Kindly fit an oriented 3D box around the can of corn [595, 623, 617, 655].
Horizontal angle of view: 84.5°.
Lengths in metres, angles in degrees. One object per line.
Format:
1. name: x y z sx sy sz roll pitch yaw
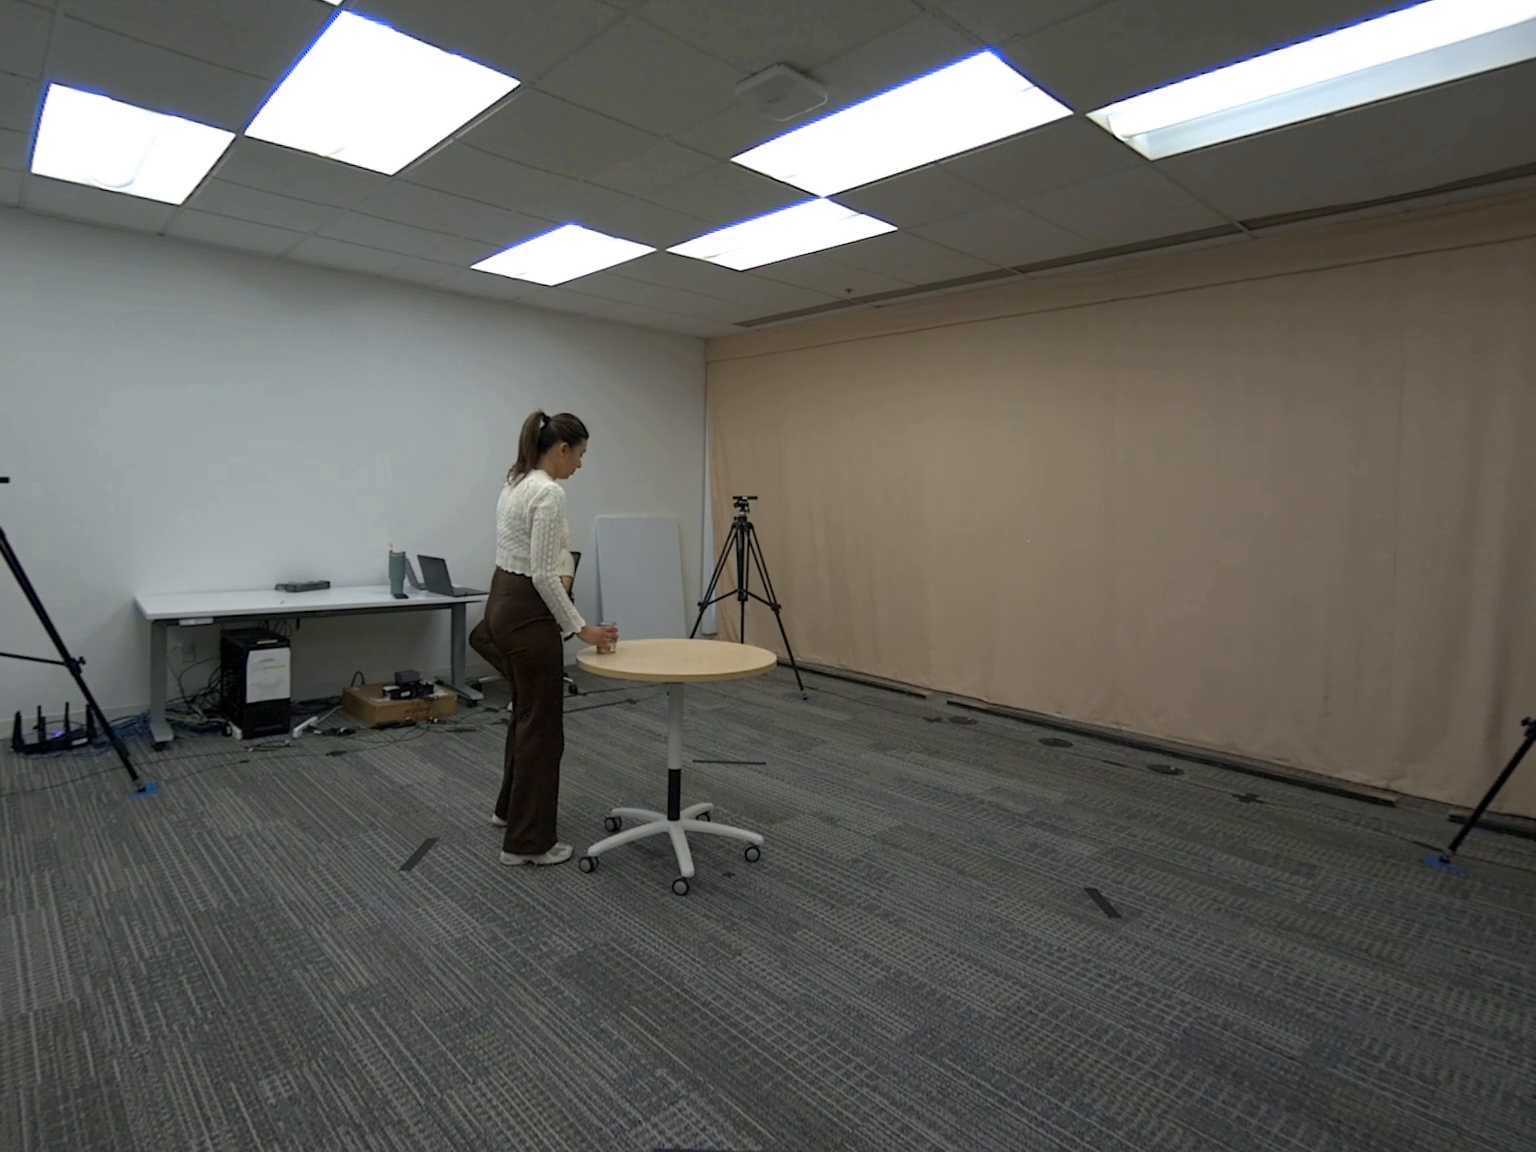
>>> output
1. can of corn: -0.634 0.240 3.234 0.074 0.110 0.074 2 5 -2
